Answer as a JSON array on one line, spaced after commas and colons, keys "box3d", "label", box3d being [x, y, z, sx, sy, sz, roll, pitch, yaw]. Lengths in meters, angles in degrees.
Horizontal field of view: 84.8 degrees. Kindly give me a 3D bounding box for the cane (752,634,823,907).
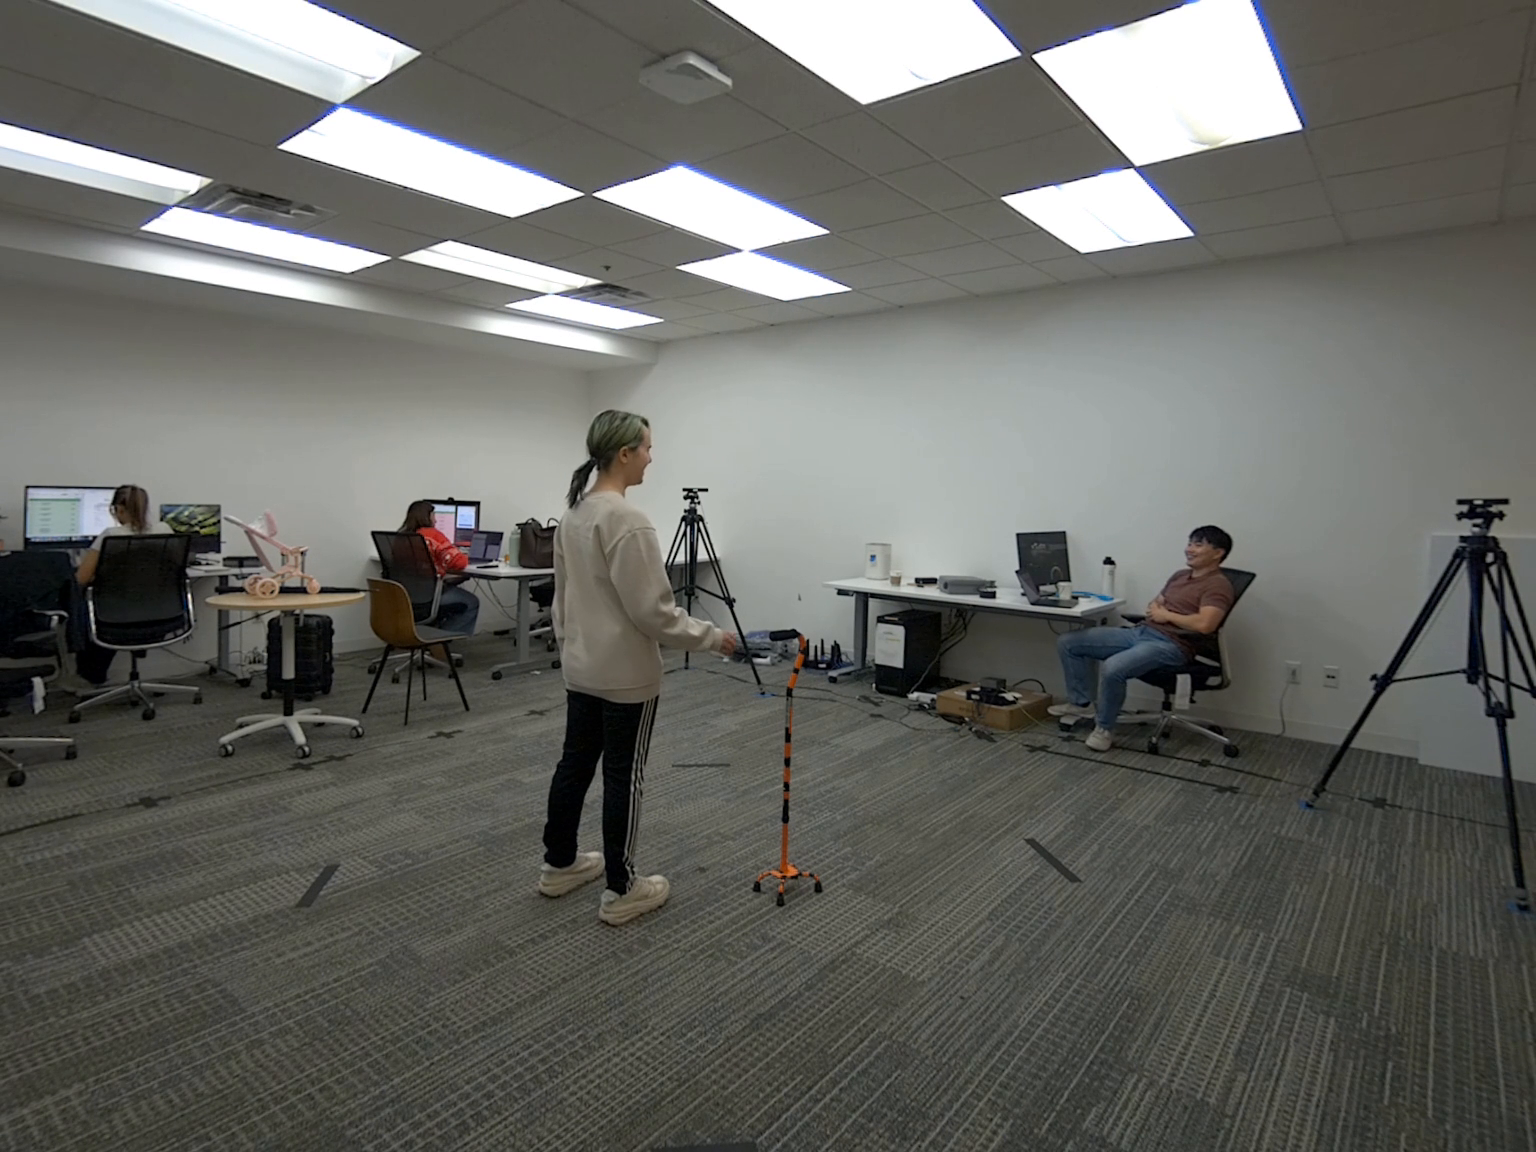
[{"box3d": [0.073, 0.638, 2.934, 0.200, 0.905, 0.157, -1, 4, -40], "label": "cane"}]
